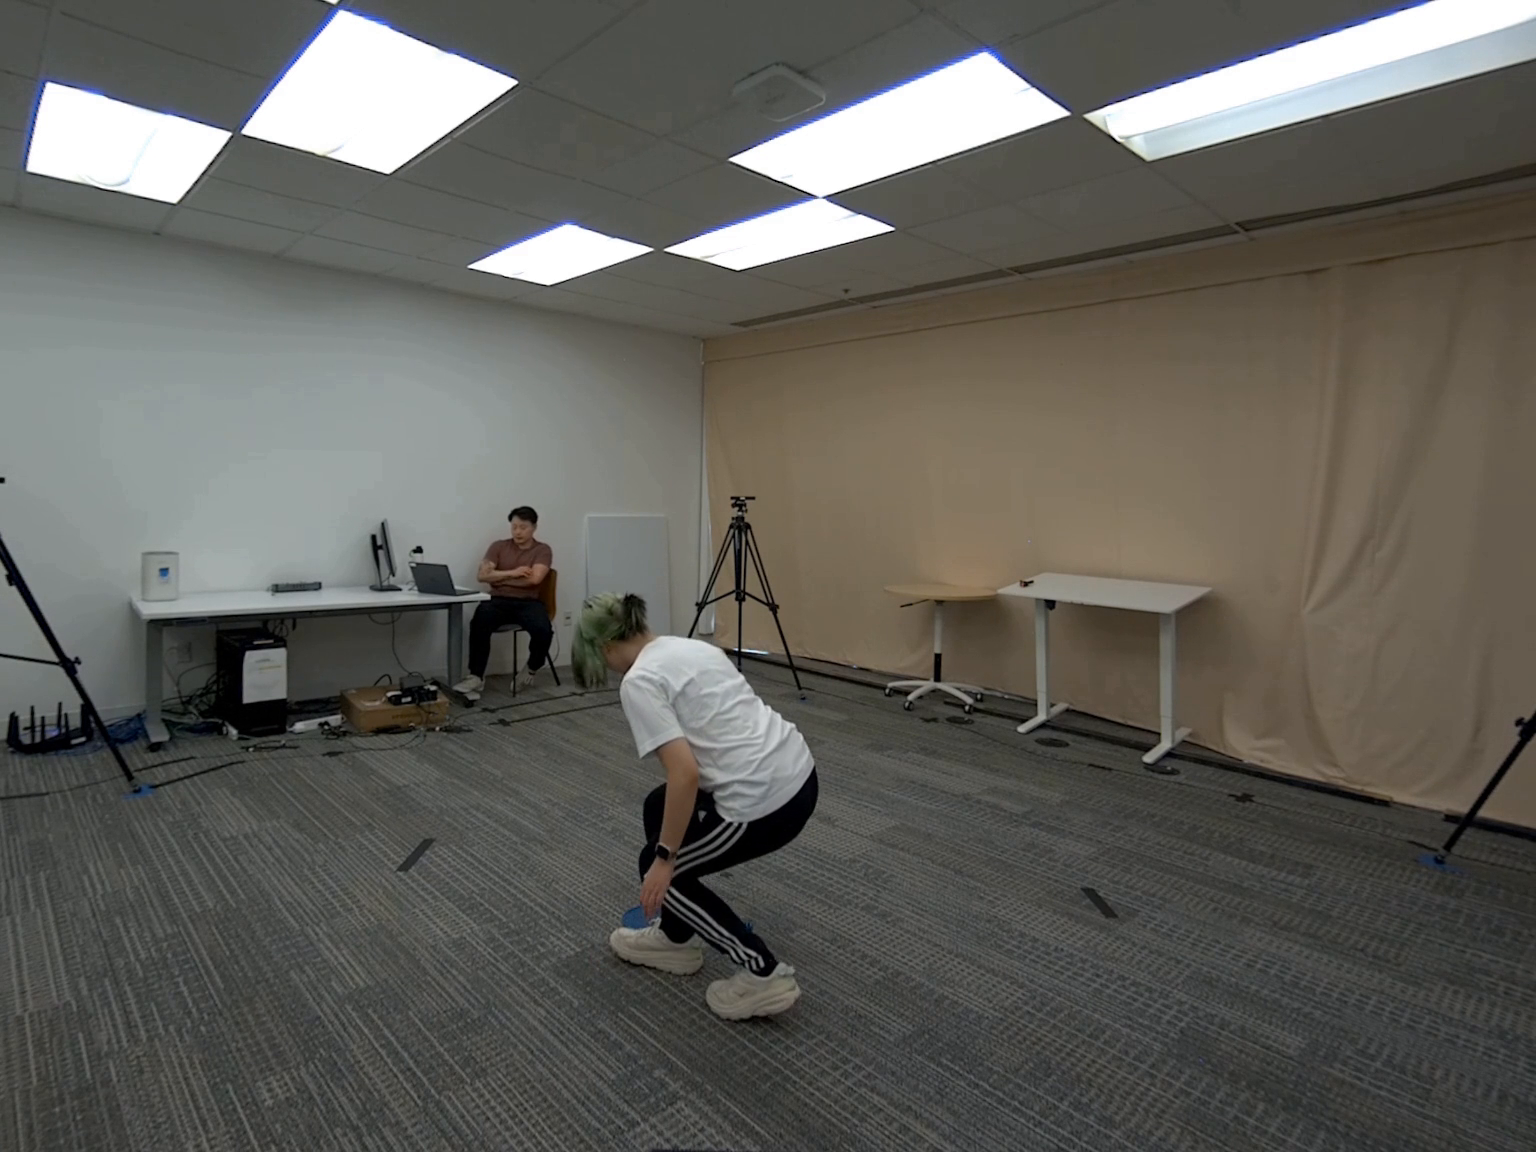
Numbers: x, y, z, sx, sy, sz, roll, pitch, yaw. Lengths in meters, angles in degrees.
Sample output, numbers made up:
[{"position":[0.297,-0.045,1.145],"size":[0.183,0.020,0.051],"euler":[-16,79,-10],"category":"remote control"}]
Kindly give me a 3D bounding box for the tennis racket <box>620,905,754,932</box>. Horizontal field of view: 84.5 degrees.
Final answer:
[{"position":[-0.263,1.126,2.728],"size":[0.436,0.031,0.212],"euler":[1,5,10],"category":"tennis racket"}]
